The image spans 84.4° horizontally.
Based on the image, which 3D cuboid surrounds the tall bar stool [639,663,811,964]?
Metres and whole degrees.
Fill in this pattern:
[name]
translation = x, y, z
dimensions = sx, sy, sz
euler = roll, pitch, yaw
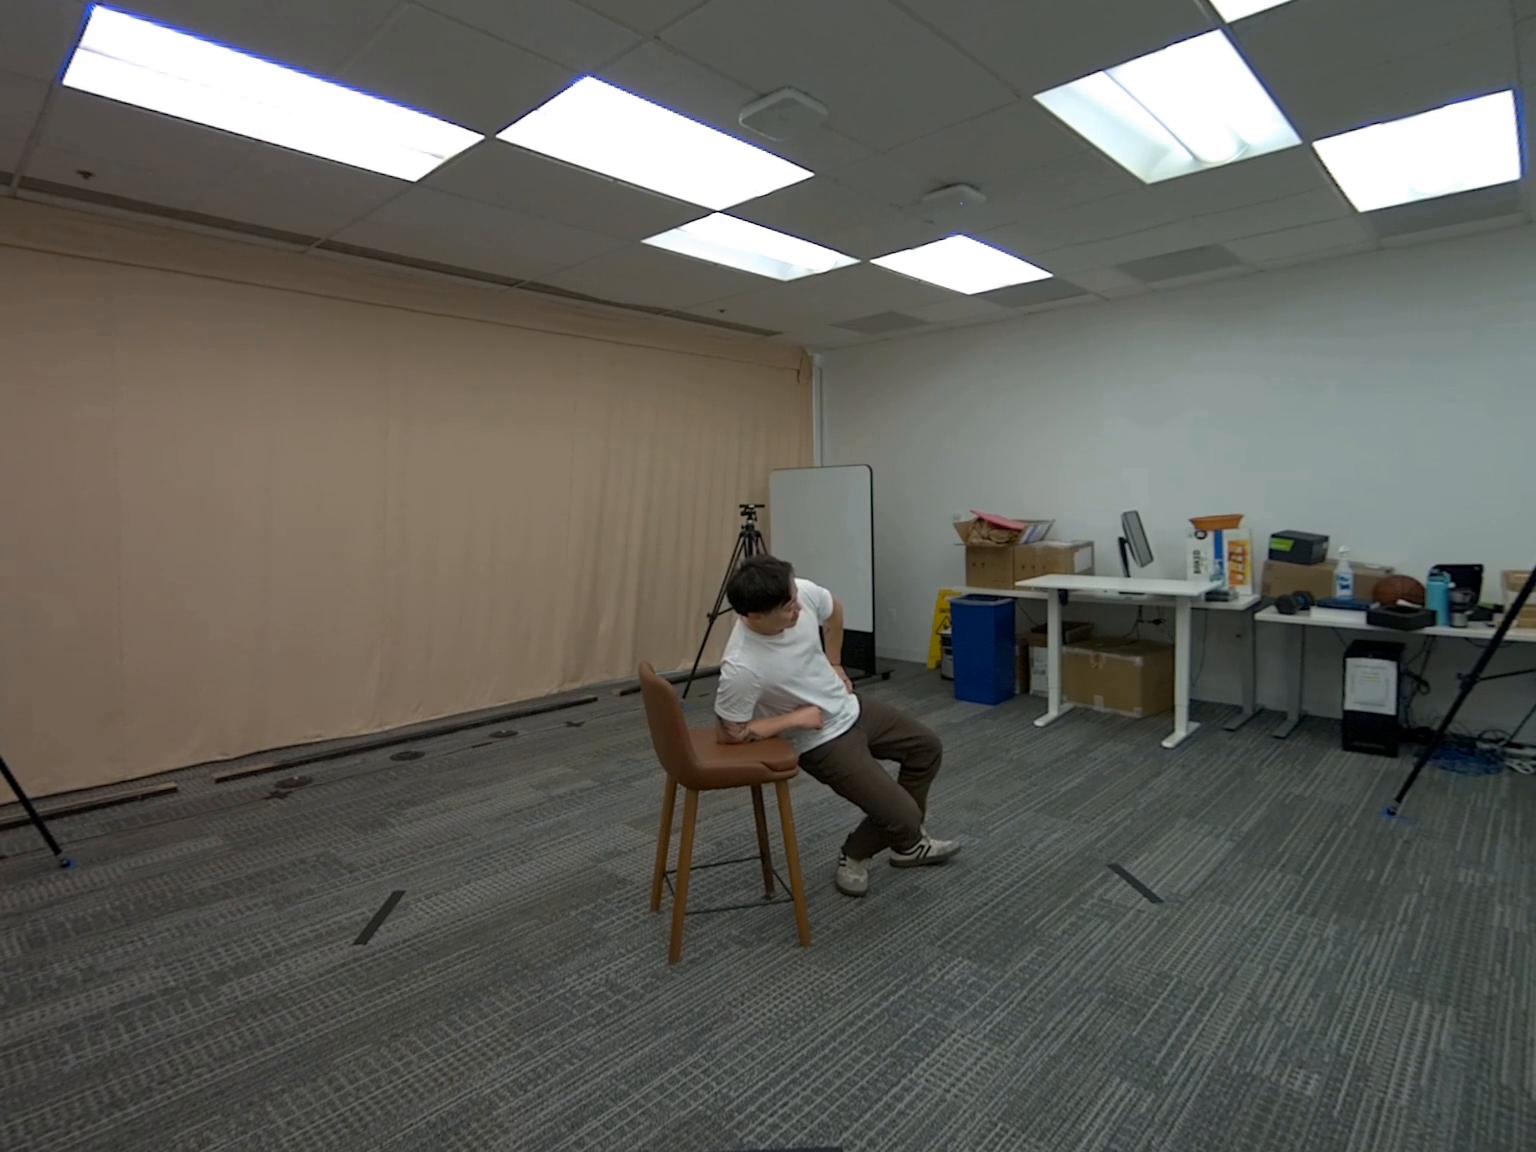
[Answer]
[tall bar stool]
translation = -0.147, 0.726, 2.764
dimensions = 0.460, 0.887, 0.465
euler = -3, 4, -16
